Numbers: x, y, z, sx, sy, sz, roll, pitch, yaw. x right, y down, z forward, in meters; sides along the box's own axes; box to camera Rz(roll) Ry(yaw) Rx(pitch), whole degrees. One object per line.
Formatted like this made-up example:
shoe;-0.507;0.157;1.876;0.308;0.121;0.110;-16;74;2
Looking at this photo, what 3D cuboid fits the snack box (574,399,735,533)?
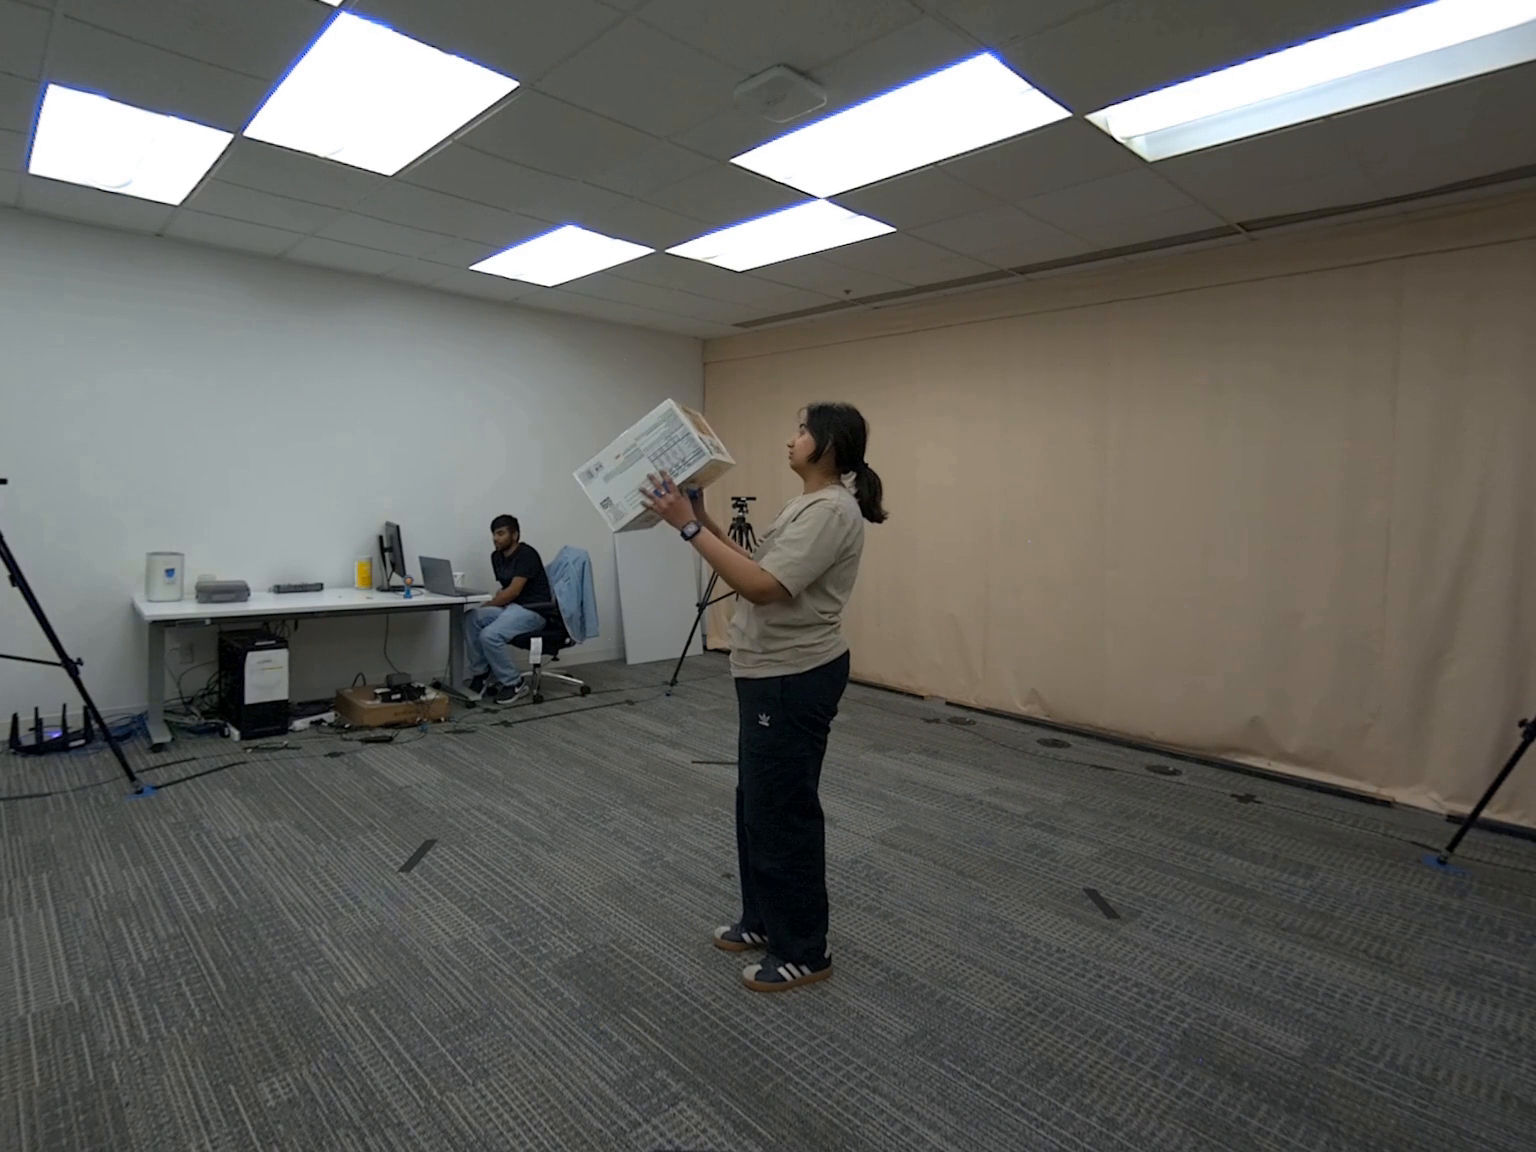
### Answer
snack box;-0.315;-0.314;2.432;0.341;0.206;0.403;-36;-1;8
